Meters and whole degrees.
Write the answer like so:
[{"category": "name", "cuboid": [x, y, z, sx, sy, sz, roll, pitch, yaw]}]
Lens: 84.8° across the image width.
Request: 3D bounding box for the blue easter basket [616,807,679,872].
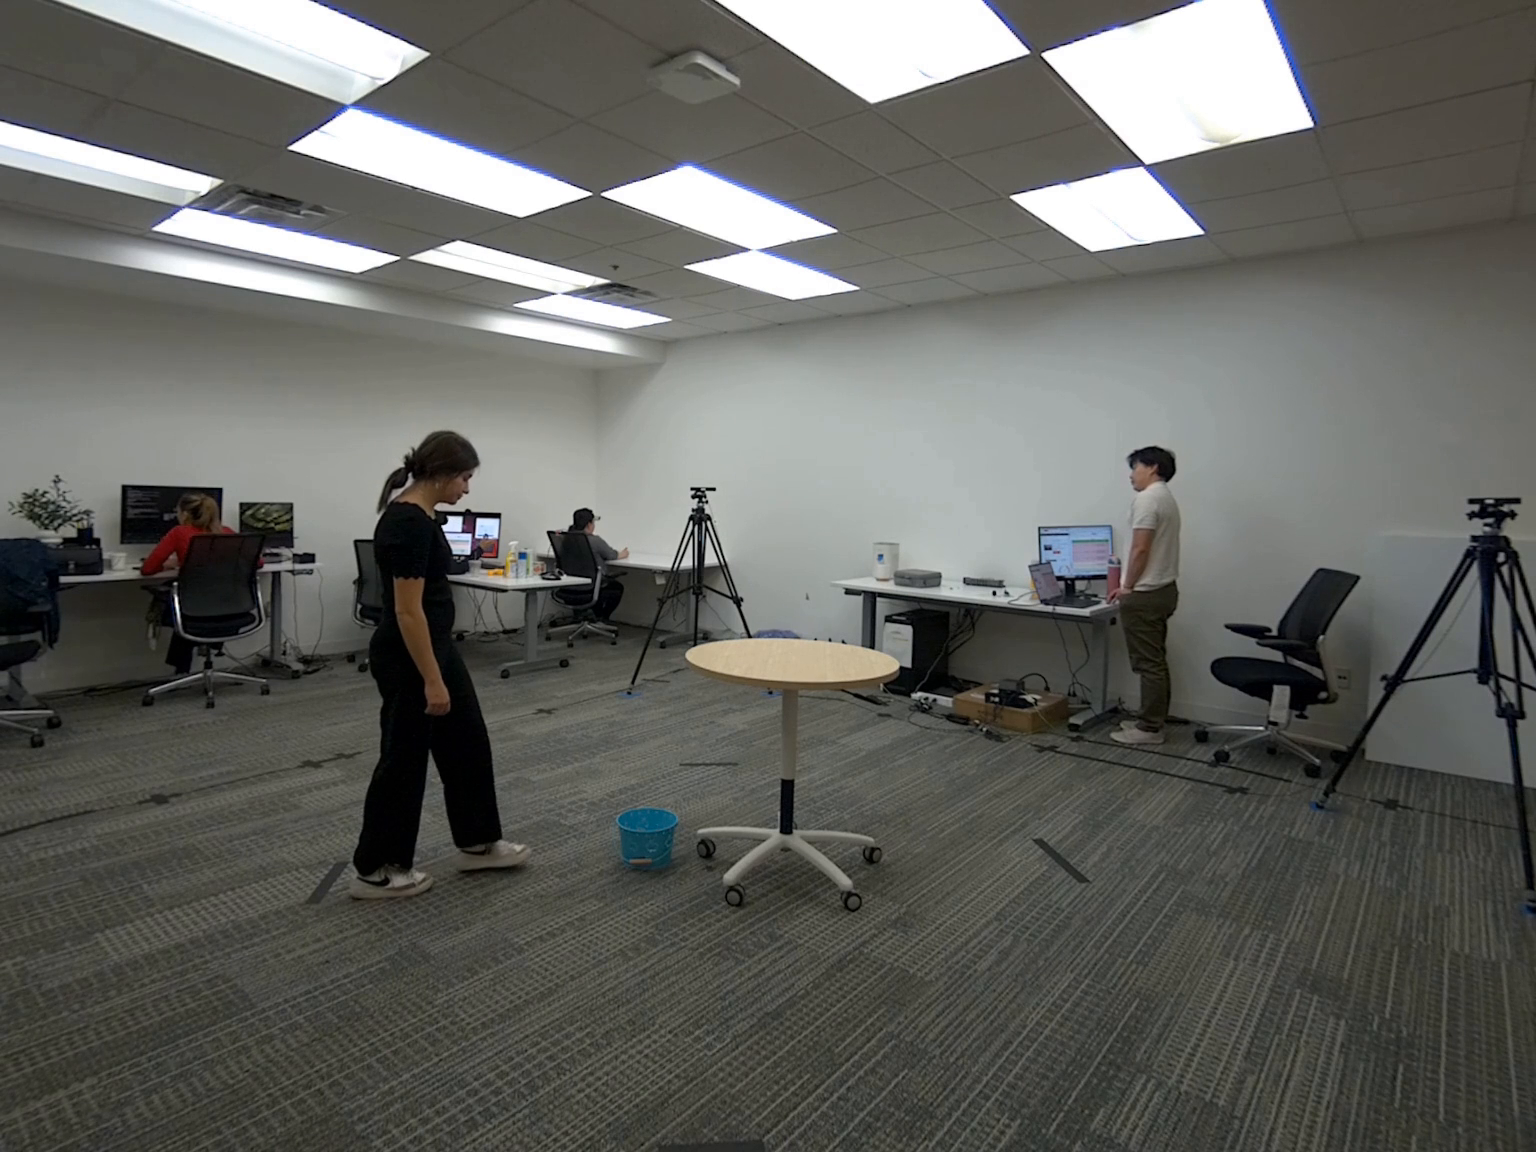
[{"category": "blue easter basket", "cuboid": [-0.466, 0.978, 3.171, 0.243, 0.155, 0.245, 1, 4, -2]}]
